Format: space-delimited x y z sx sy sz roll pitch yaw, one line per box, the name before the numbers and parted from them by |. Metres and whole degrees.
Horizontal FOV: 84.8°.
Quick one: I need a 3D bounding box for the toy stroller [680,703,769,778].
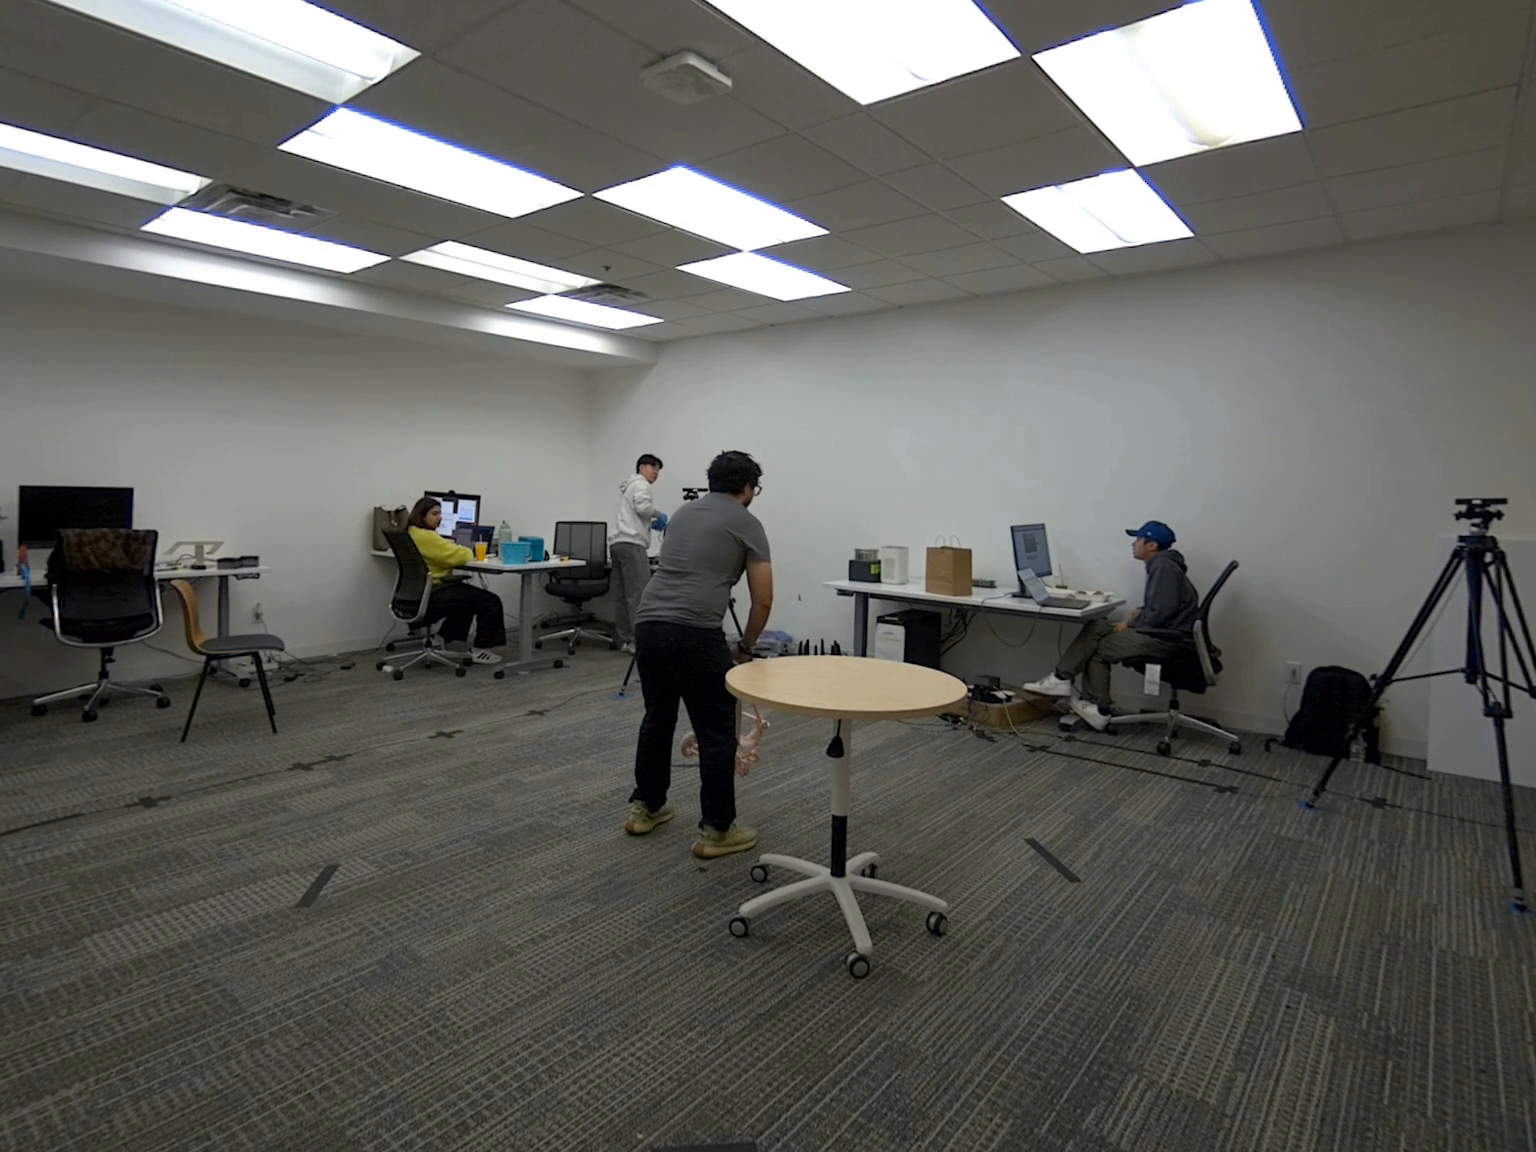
toy stroller | -0.153 0.606 3.643 0.329 0.535 0.292 10 1 -43
